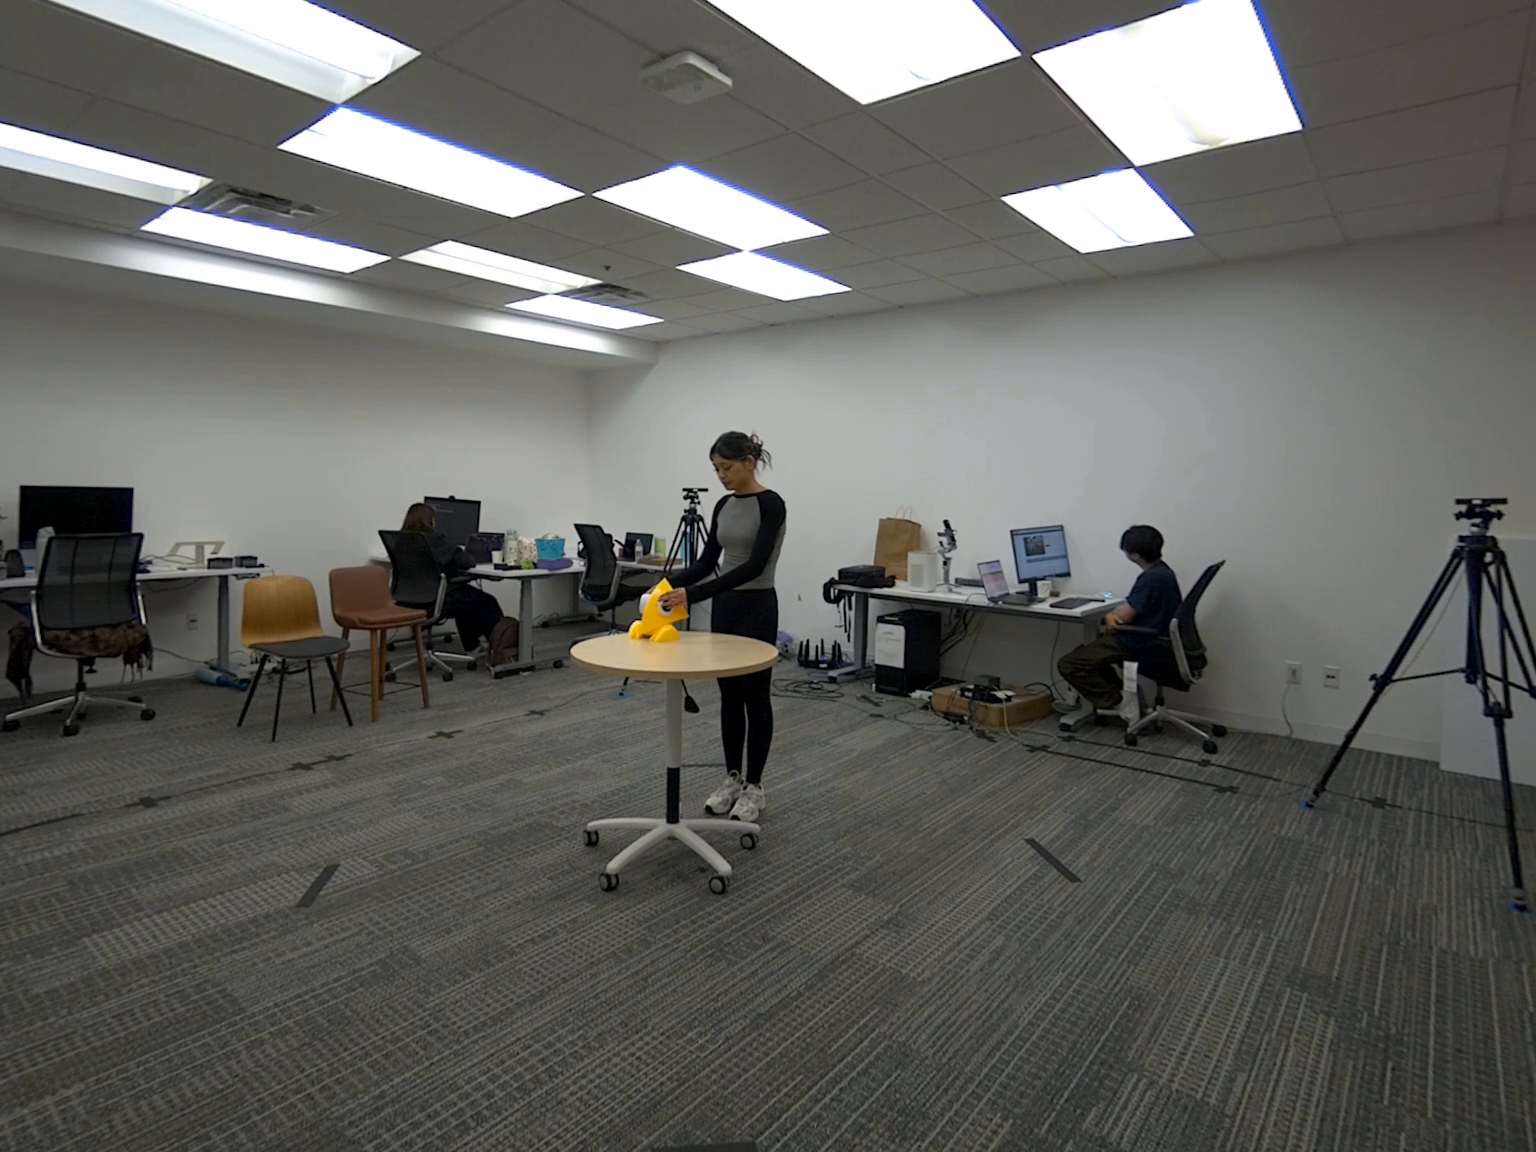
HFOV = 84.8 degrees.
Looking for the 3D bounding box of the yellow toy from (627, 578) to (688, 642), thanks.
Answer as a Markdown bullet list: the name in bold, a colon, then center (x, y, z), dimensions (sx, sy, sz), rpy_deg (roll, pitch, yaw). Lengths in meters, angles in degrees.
- **yellow toy**: center (-0.457, 0.128, 3.406), dimensions (0.211, 0.230, 0.188), rpy_deg (4, 6, 30)
